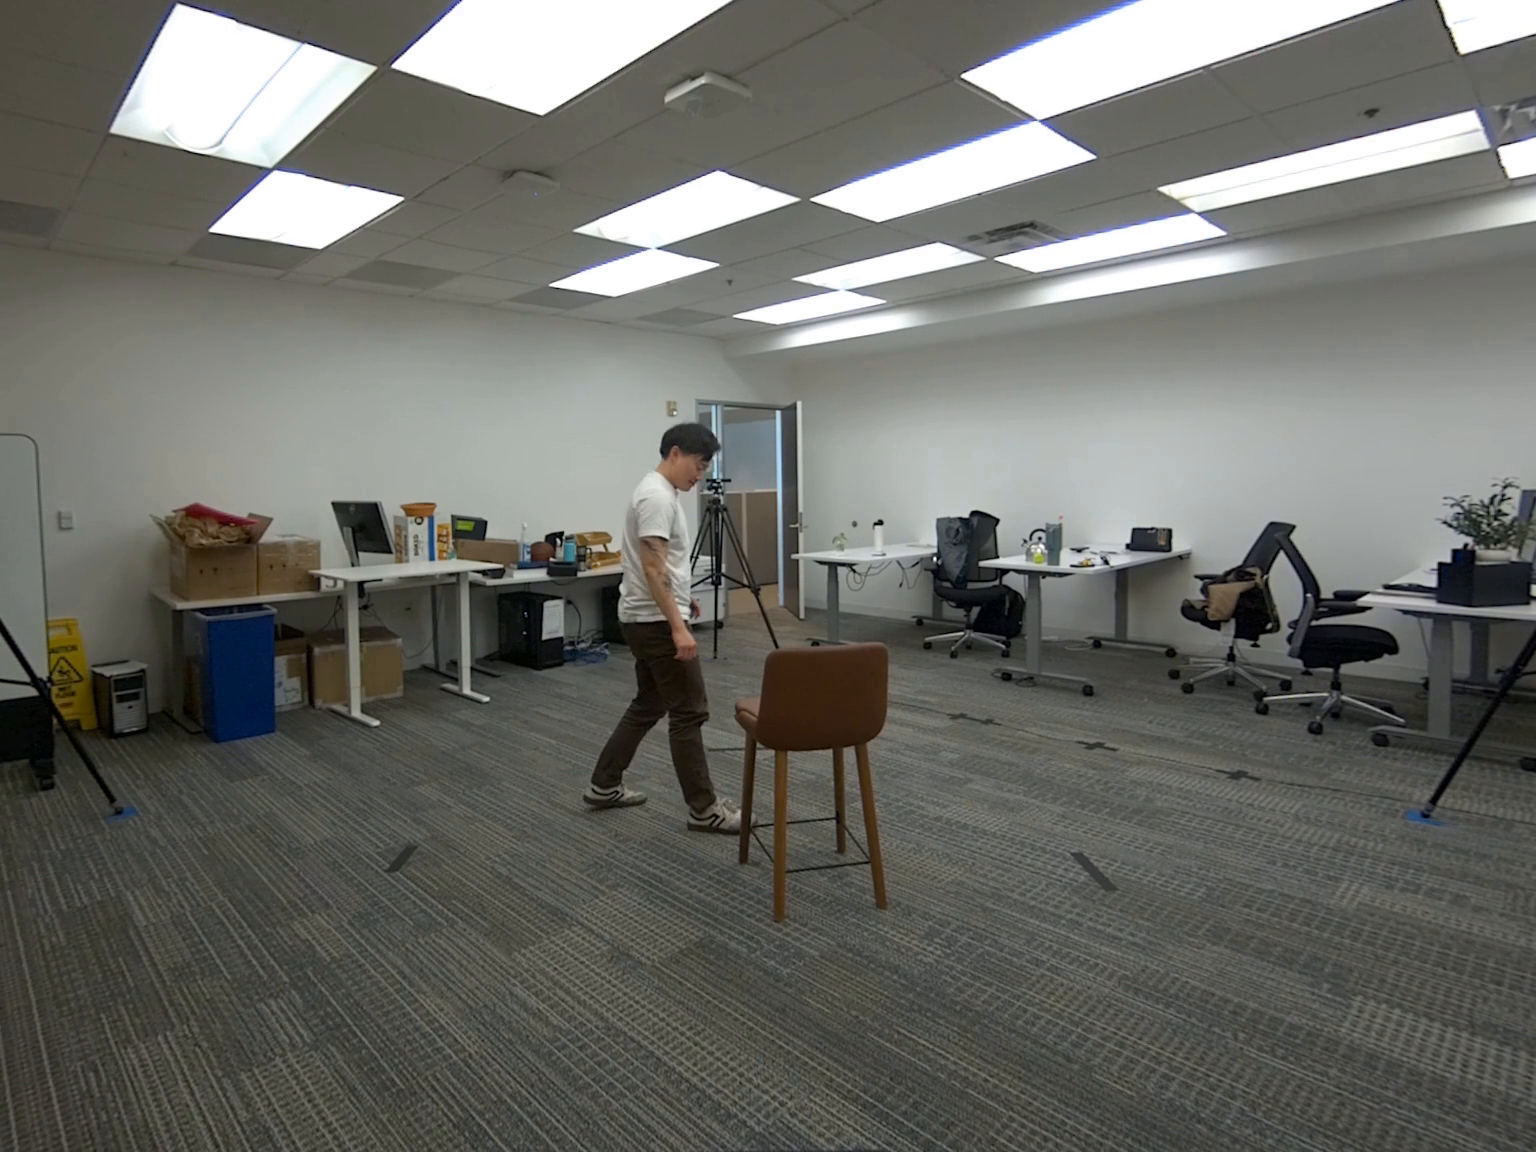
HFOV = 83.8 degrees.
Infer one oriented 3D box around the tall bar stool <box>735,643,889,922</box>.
[{"bbox_3d":[0.143,0.628,2.913,0.451,0.885,0.476,-2,6,-14],"label":"tall bar stool"}]
